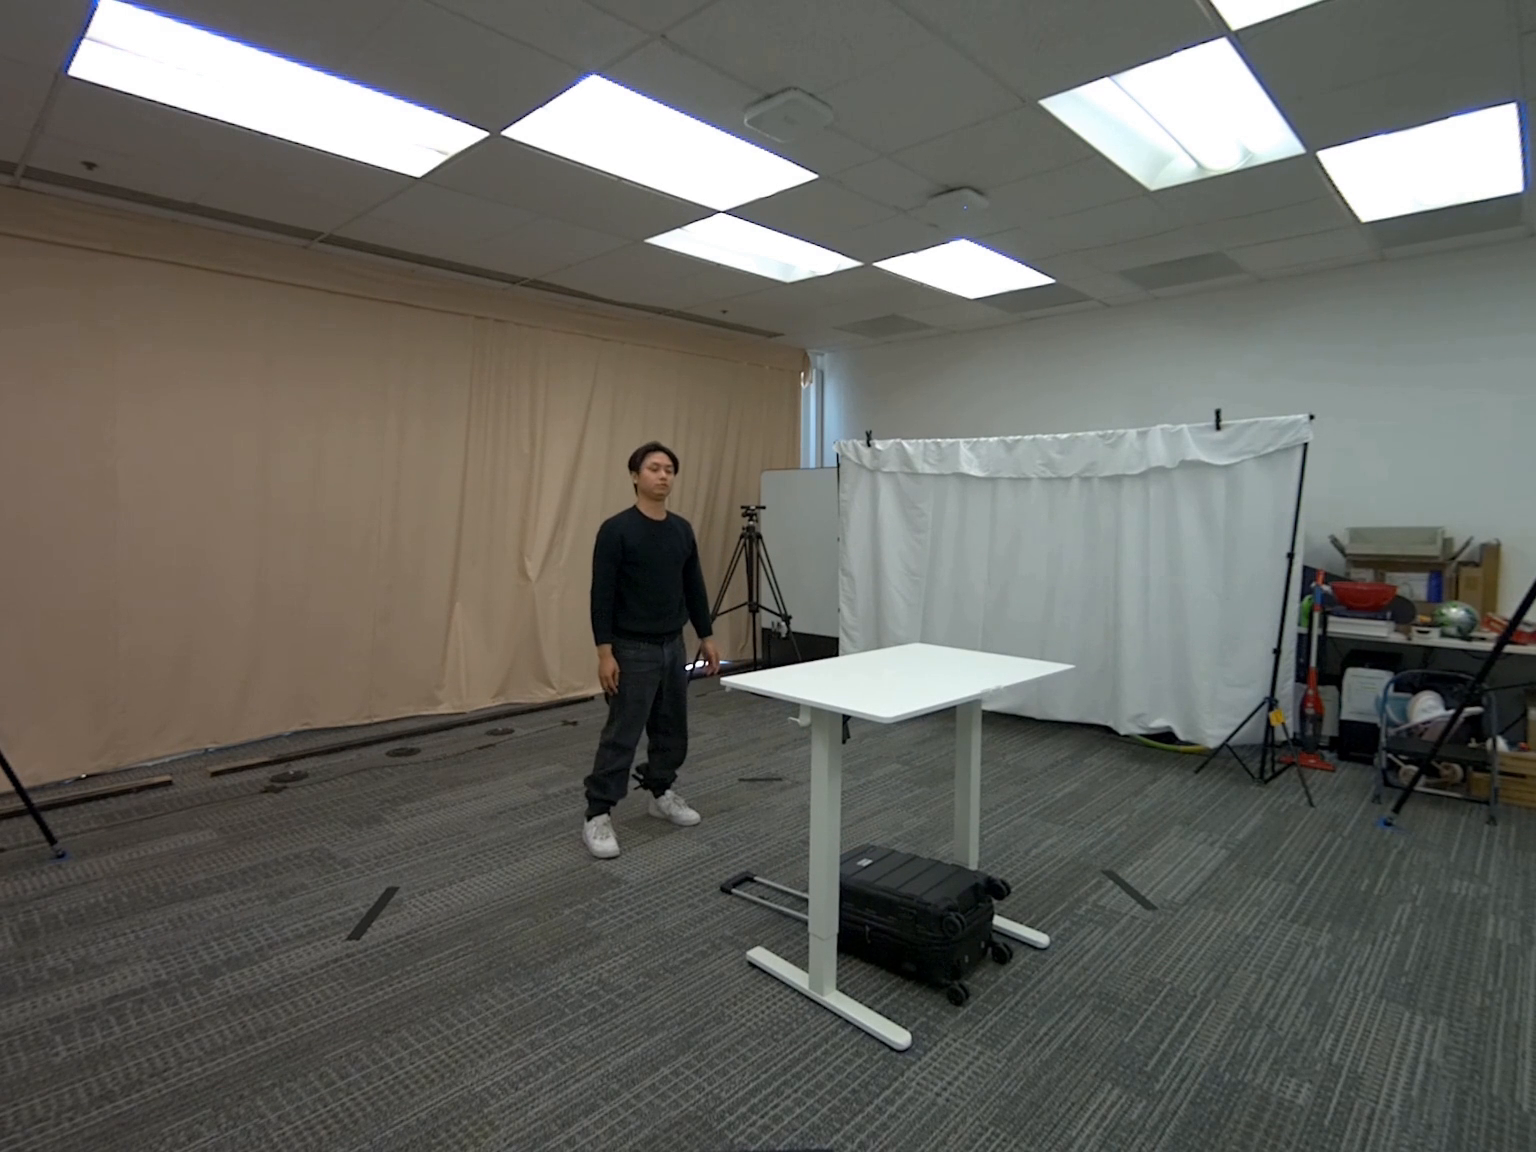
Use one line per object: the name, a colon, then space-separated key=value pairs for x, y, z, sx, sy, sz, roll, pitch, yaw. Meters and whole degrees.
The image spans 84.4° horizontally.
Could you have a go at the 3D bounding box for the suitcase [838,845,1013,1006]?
suitcase: x=0.267 y=1.034 z=2.768 sx=1.011 sy=0.256 sz=0.372 roll=4 pitch=6 yaw=40
